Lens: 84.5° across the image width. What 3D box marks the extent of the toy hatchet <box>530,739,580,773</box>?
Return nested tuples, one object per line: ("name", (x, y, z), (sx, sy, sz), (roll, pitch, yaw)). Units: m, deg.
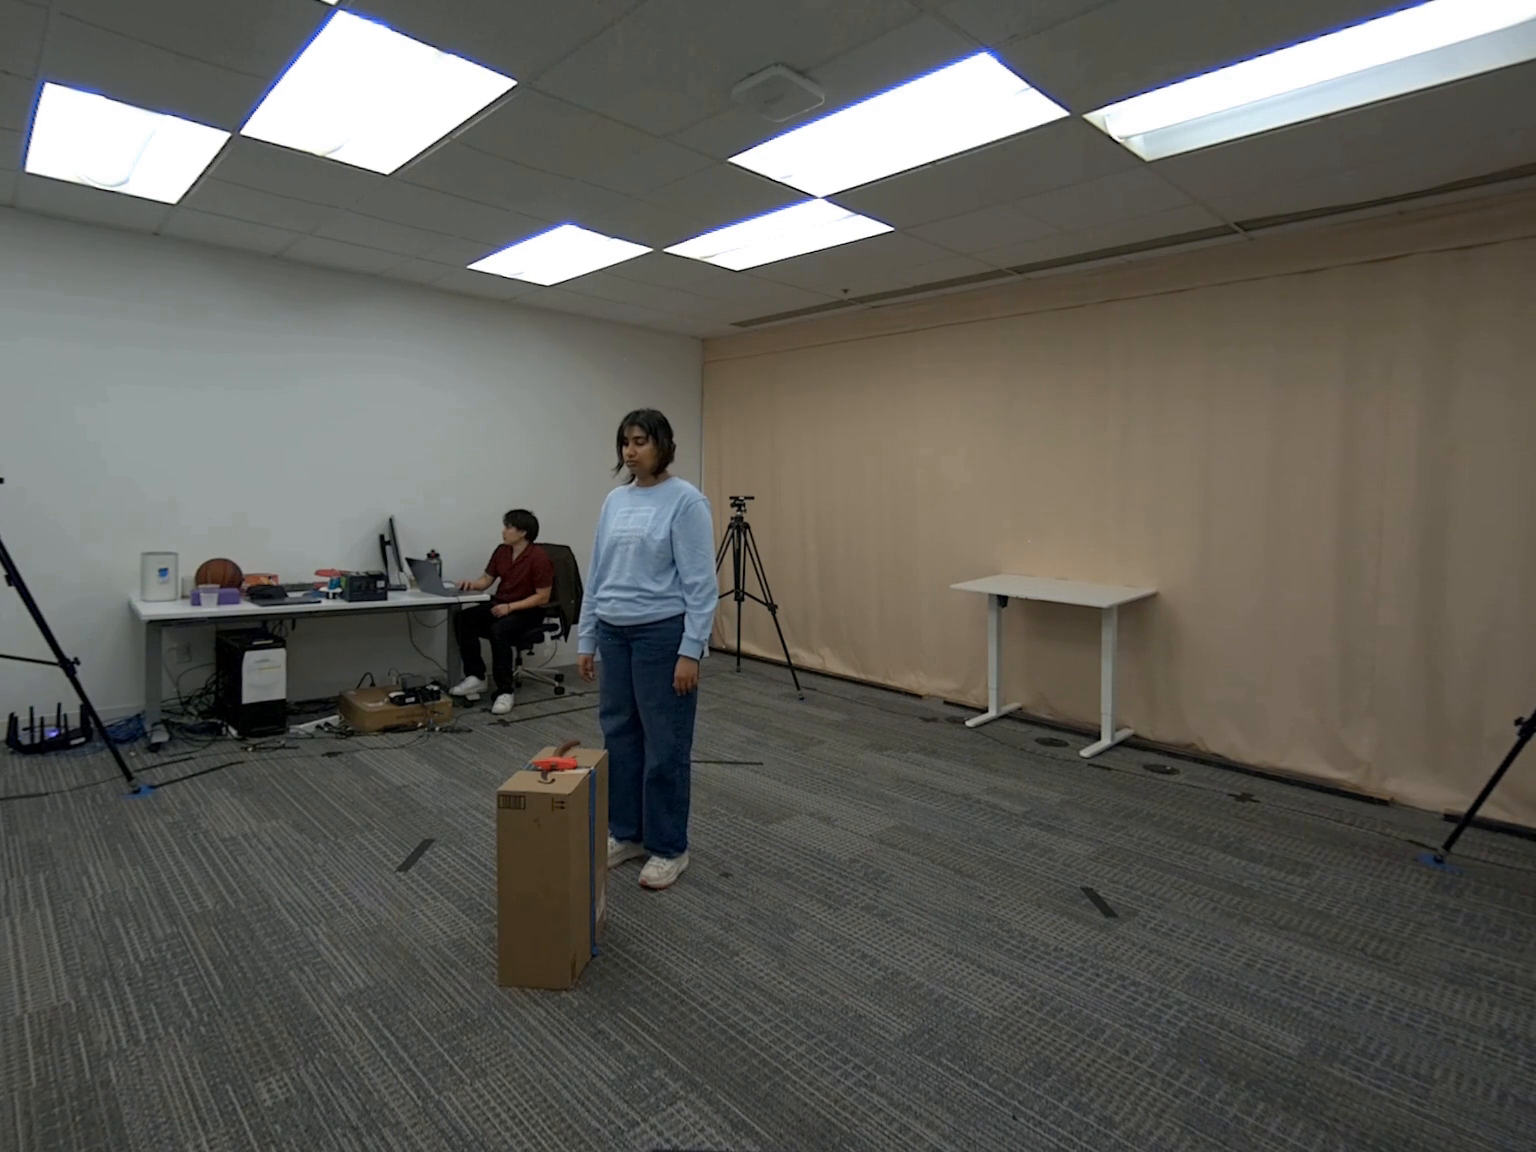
("toy hatchet", (-0.627, 0.561, 2.636), (0.133, 0.029, 0.267), (2, 5, 14))
